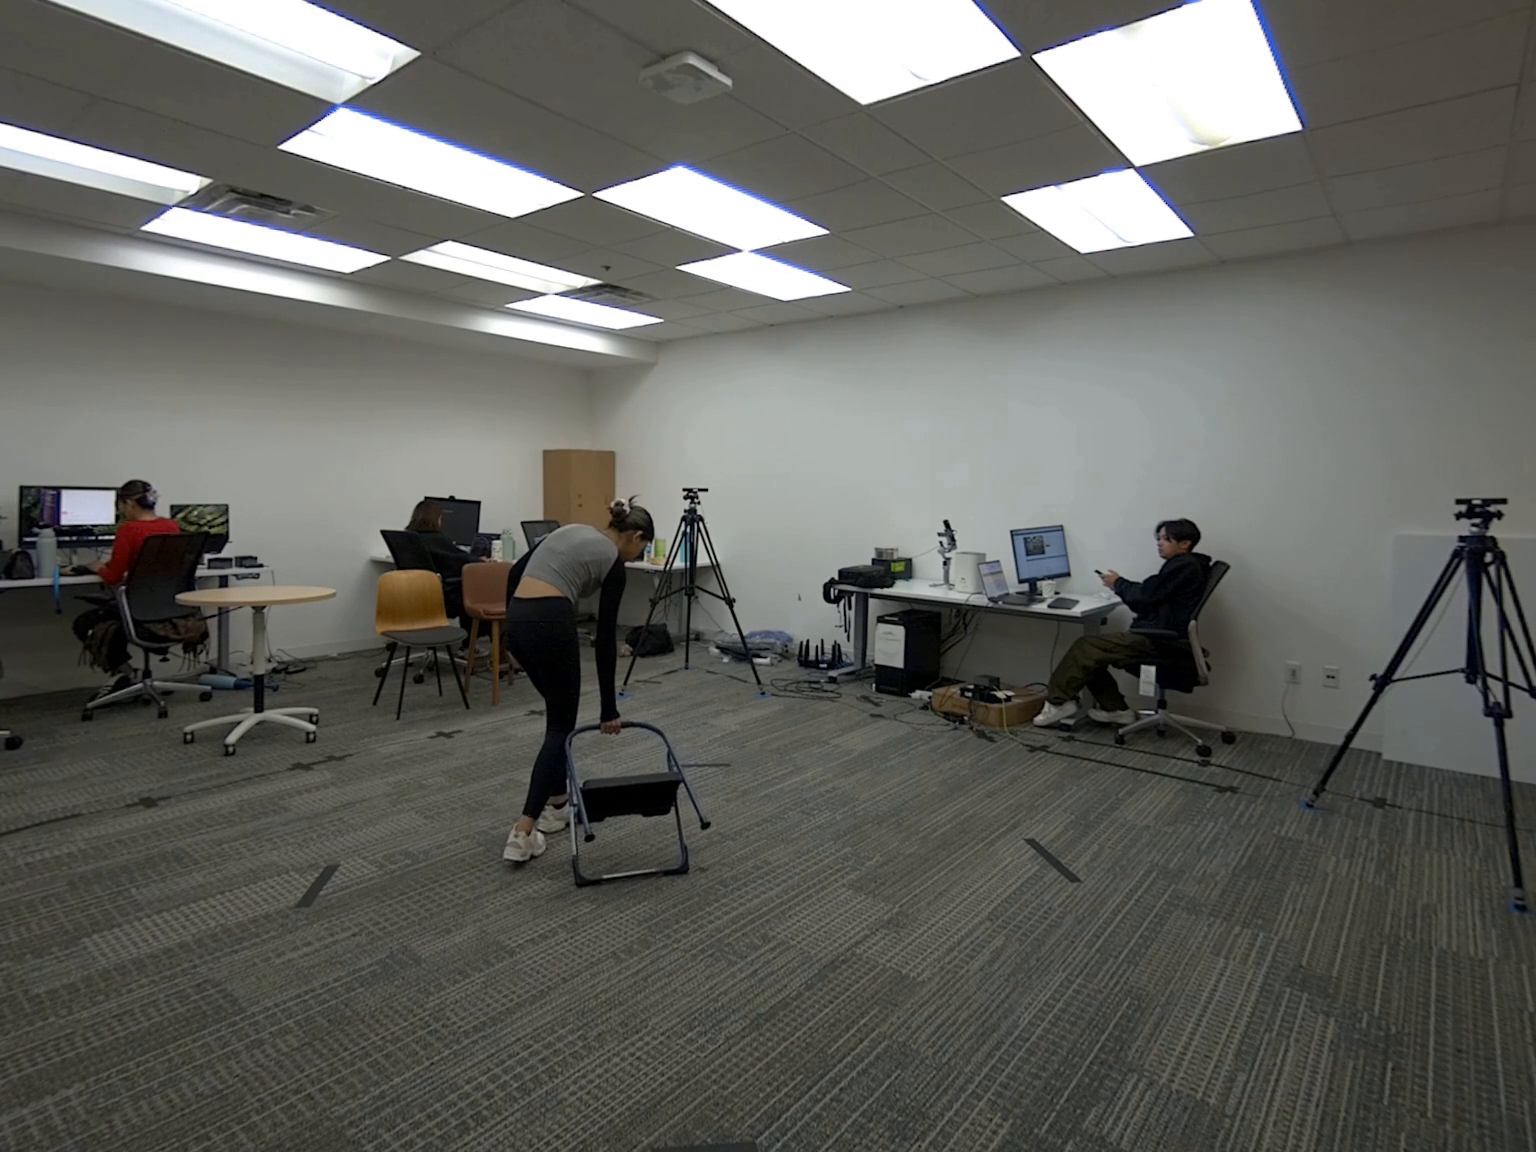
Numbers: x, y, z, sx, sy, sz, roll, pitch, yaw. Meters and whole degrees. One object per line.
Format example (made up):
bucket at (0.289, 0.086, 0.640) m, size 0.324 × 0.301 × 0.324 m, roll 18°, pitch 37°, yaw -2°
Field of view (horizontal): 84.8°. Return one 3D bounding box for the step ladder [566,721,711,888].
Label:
step ladder at (-0.528, 0.748, 3.120) m, size 0.422 × 0.343 × 0.629 m, roll 0°, pitch 42°, yaw -21°
